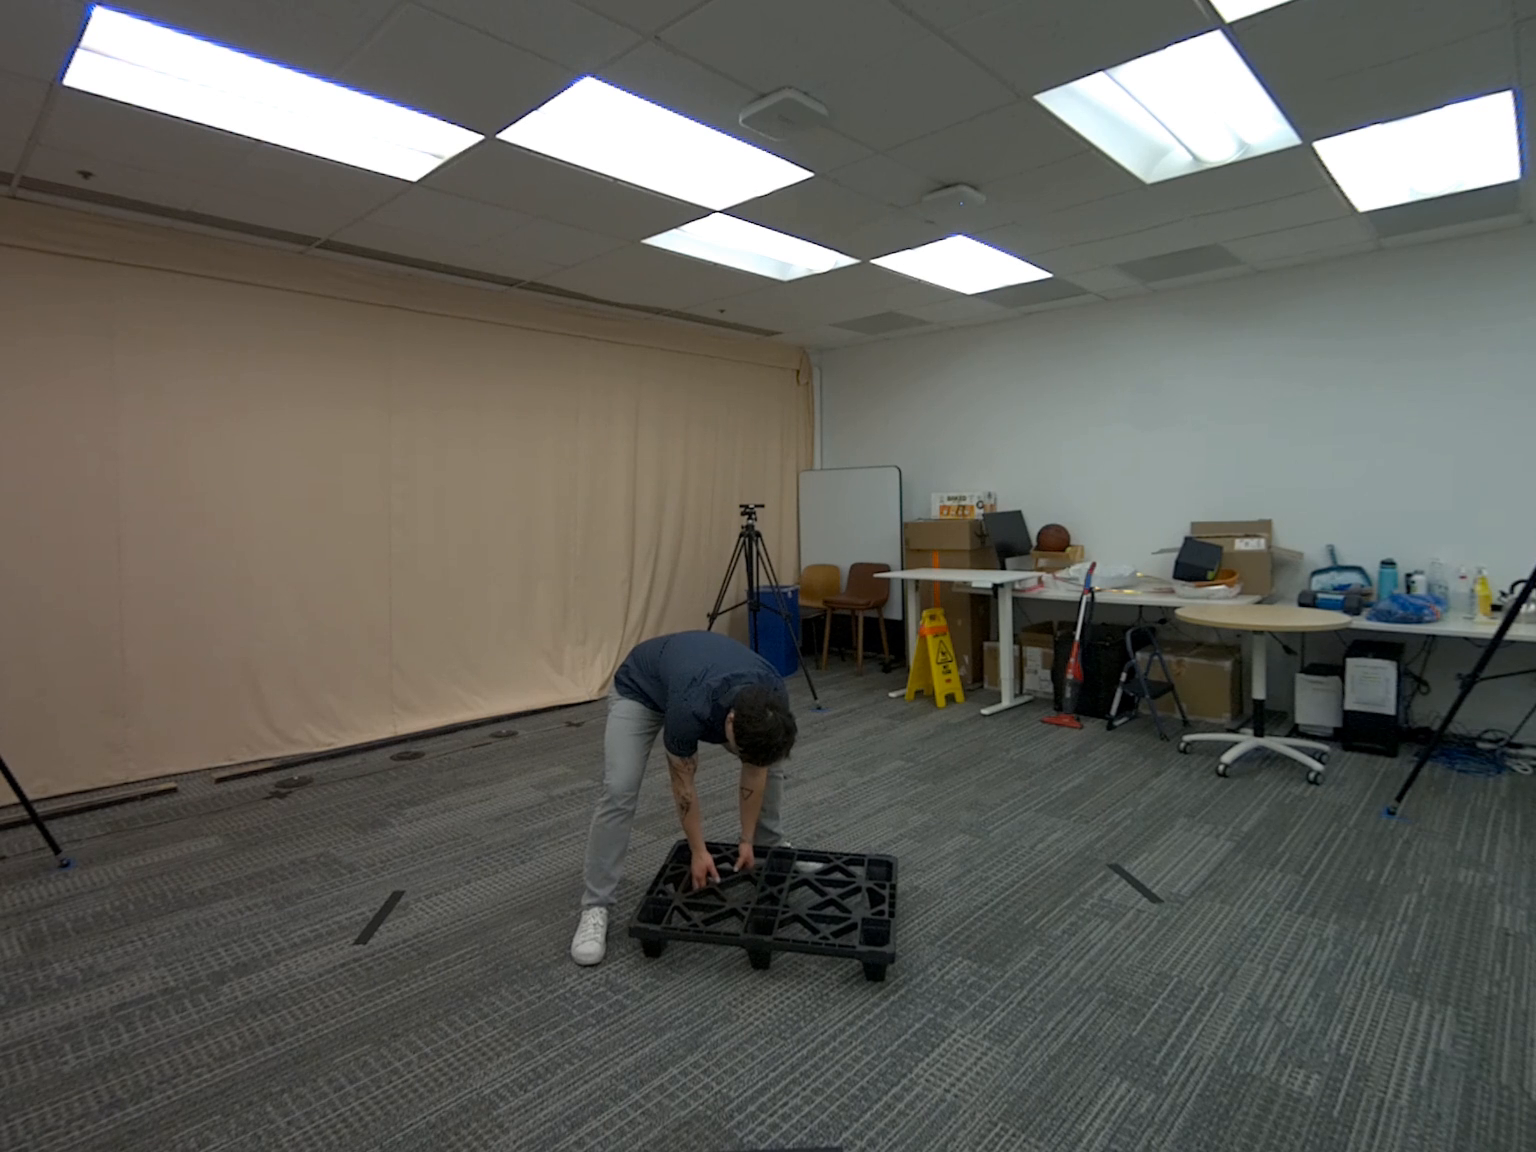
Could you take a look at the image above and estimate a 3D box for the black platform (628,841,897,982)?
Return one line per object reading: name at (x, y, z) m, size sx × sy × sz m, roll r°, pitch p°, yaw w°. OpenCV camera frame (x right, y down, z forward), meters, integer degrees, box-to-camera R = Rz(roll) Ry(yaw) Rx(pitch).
black platform at (0.019, 1.077, 2.747) m, size 0.816 × 0.142 × 0.600 m, roll 0°, pitch 8°, yaw 12°
